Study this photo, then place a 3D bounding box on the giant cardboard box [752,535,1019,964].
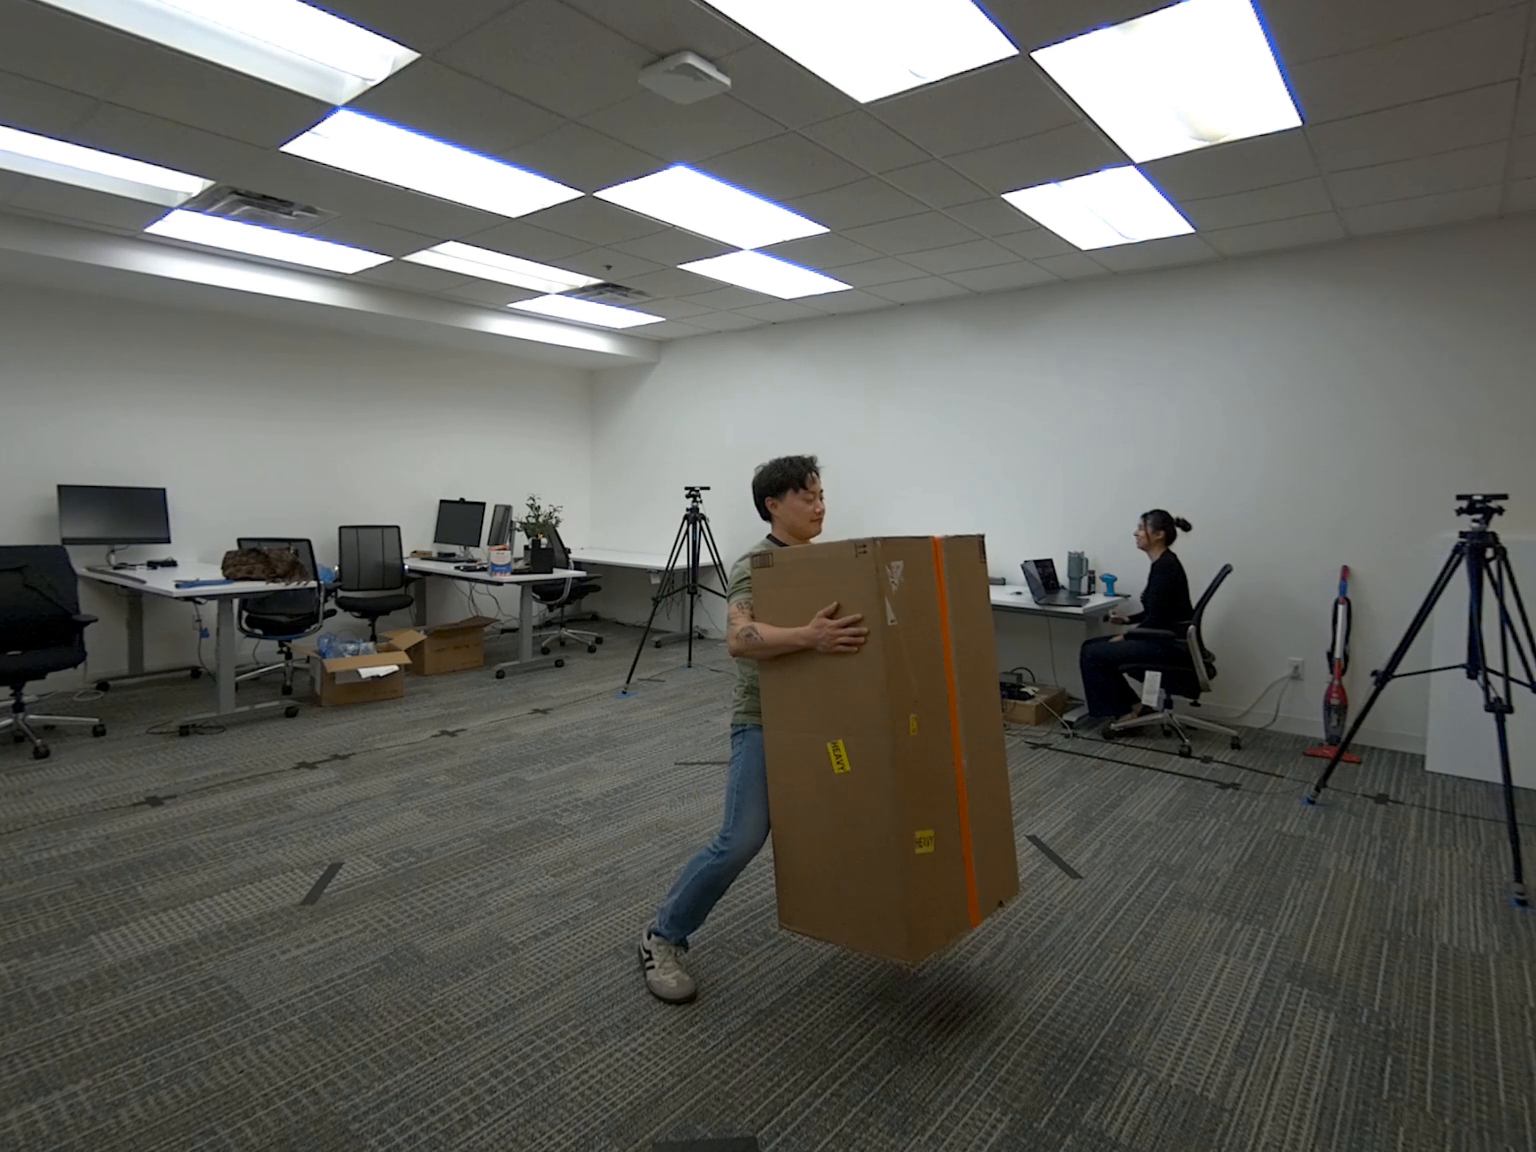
[{"bbox_3d":[0.331,0.423,2.385,0.438,1.030,0.560,-8,-4,43],"label":"giant cardboard box"}]
